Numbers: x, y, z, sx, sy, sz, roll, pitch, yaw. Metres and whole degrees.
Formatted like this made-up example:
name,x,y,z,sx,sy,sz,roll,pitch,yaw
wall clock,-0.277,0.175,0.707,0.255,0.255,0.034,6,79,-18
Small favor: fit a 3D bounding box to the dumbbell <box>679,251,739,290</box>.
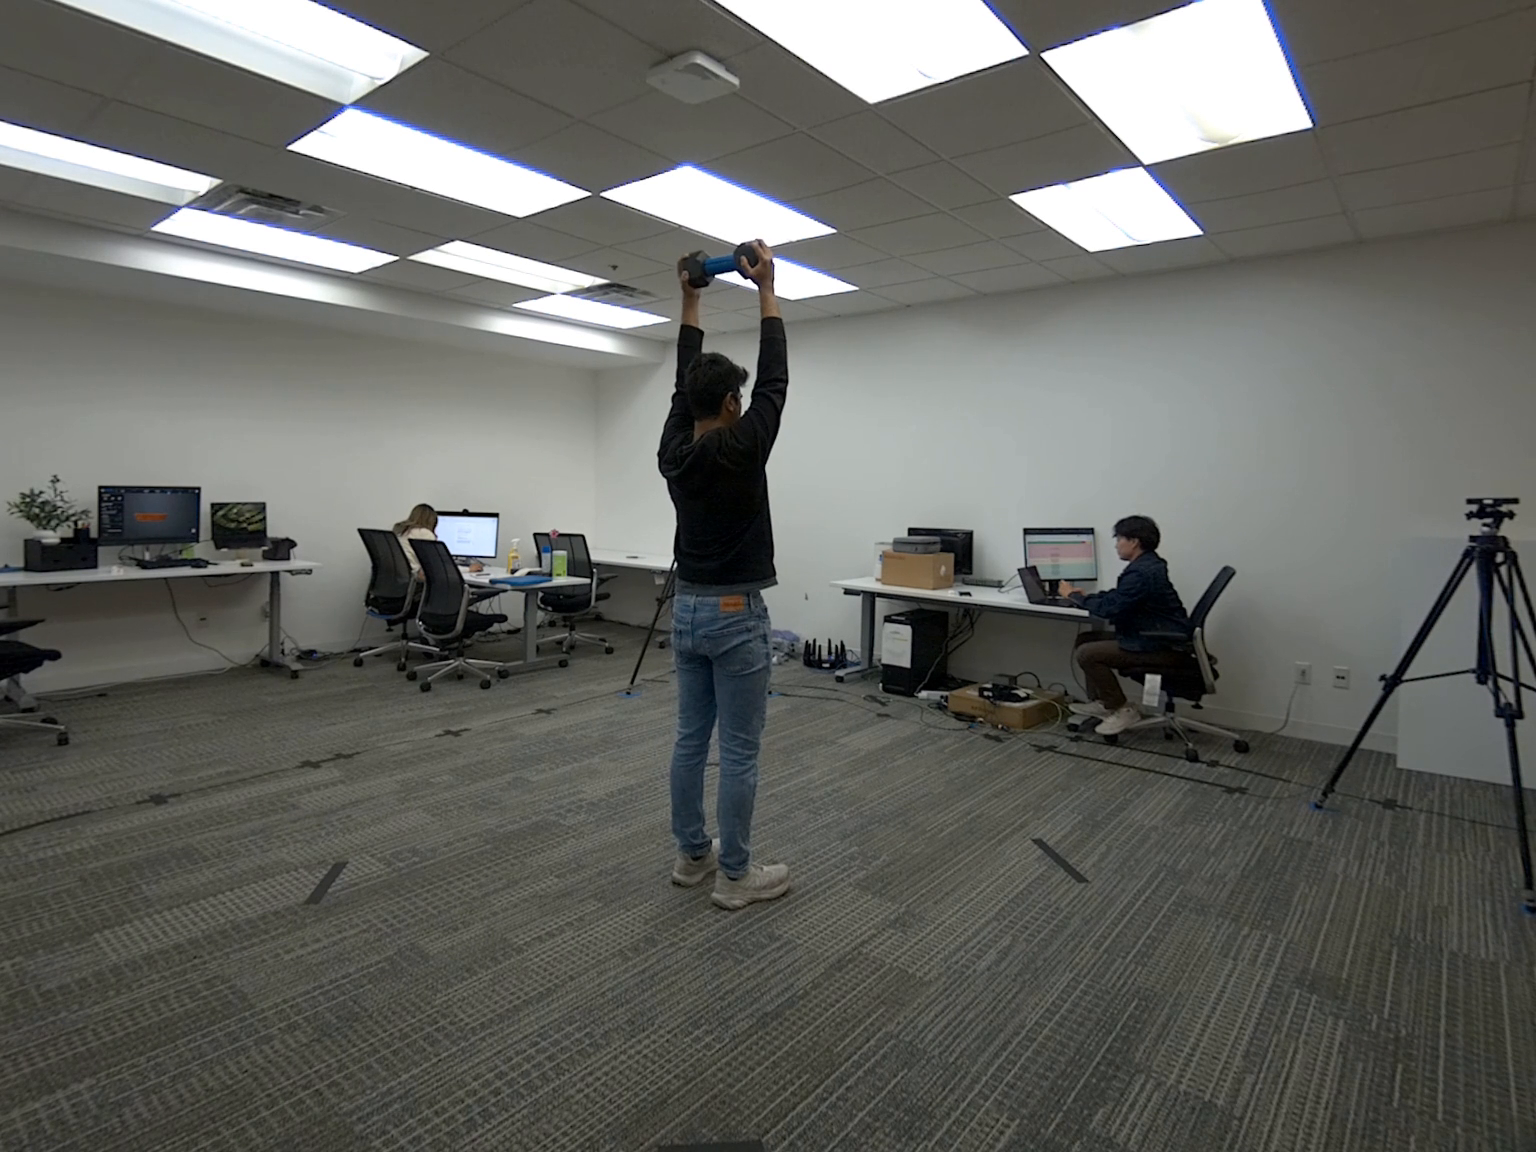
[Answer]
name,x,y,z,sx,sy,sz,roll,pitch,yaw
dumbbell,-0.157,-1.053,2.878,0.302,0.109,0.118,3,-11,33
